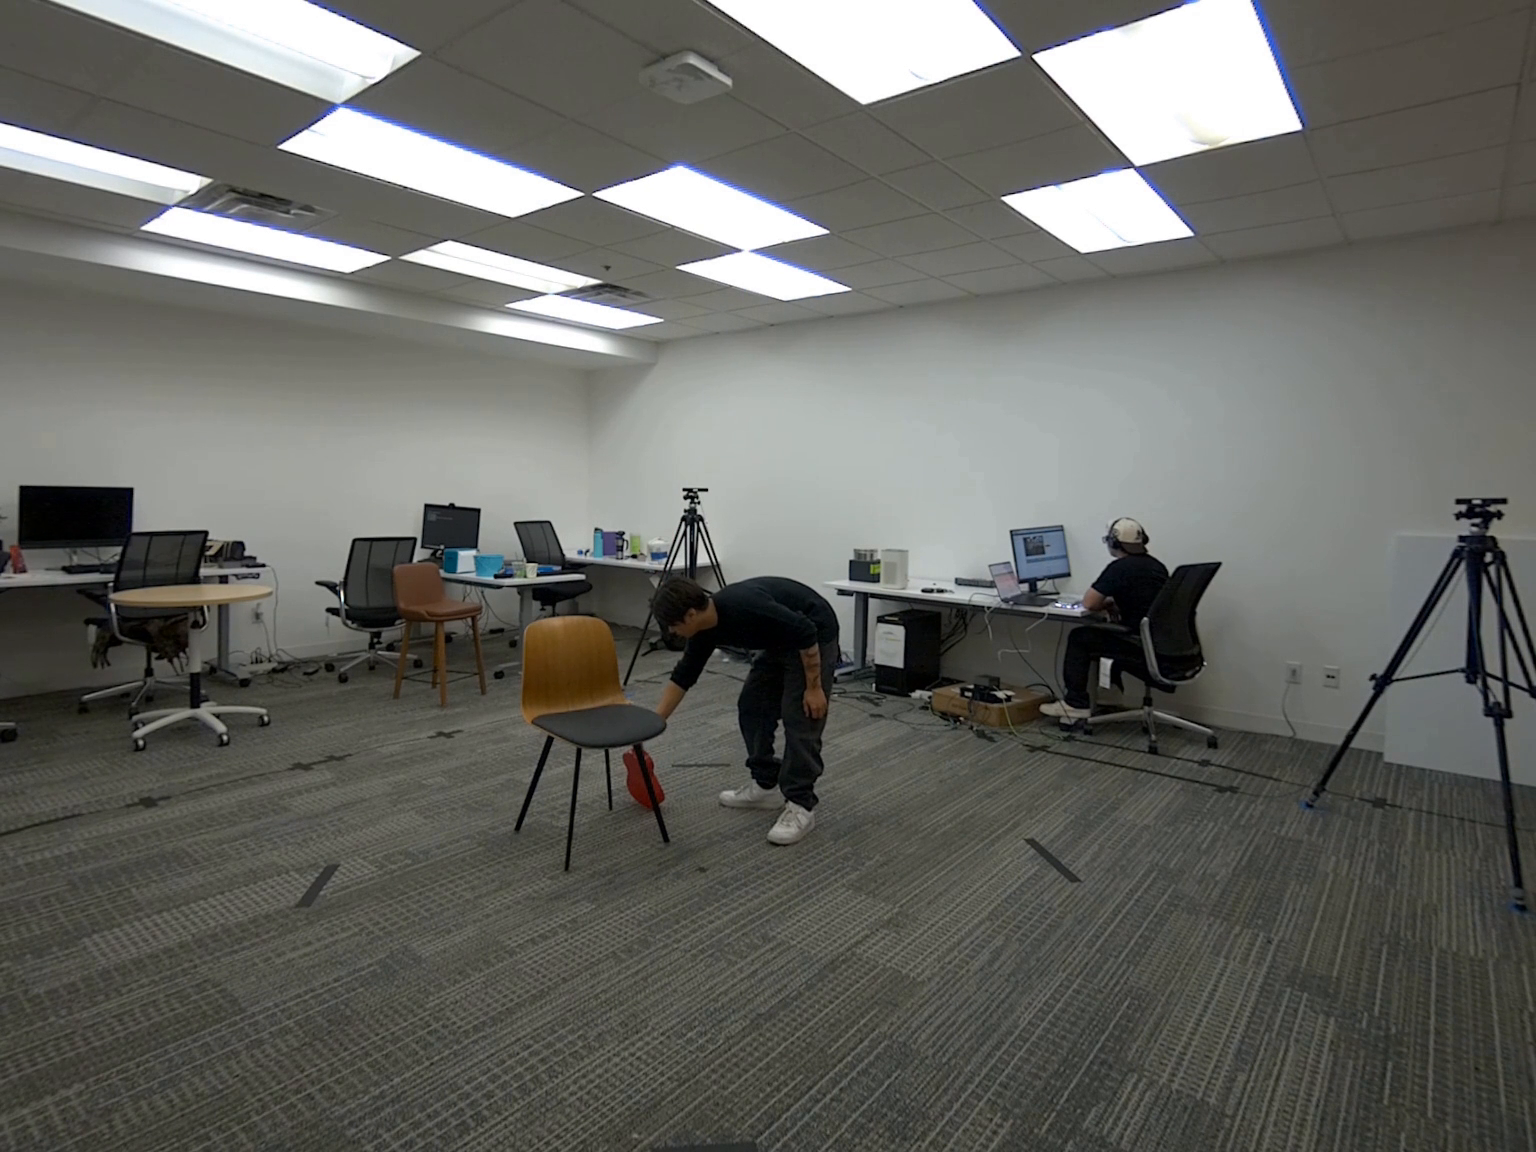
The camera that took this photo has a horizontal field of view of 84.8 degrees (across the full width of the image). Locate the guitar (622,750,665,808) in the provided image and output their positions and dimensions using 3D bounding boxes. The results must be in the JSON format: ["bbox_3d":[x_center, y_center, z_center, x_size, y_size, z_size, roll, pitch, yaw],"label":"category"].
[{"bbox_3d":[-0.597,0.765,3.690,0.069,0.490,0.199,-26,16,-38],"label":"guitar"}]
